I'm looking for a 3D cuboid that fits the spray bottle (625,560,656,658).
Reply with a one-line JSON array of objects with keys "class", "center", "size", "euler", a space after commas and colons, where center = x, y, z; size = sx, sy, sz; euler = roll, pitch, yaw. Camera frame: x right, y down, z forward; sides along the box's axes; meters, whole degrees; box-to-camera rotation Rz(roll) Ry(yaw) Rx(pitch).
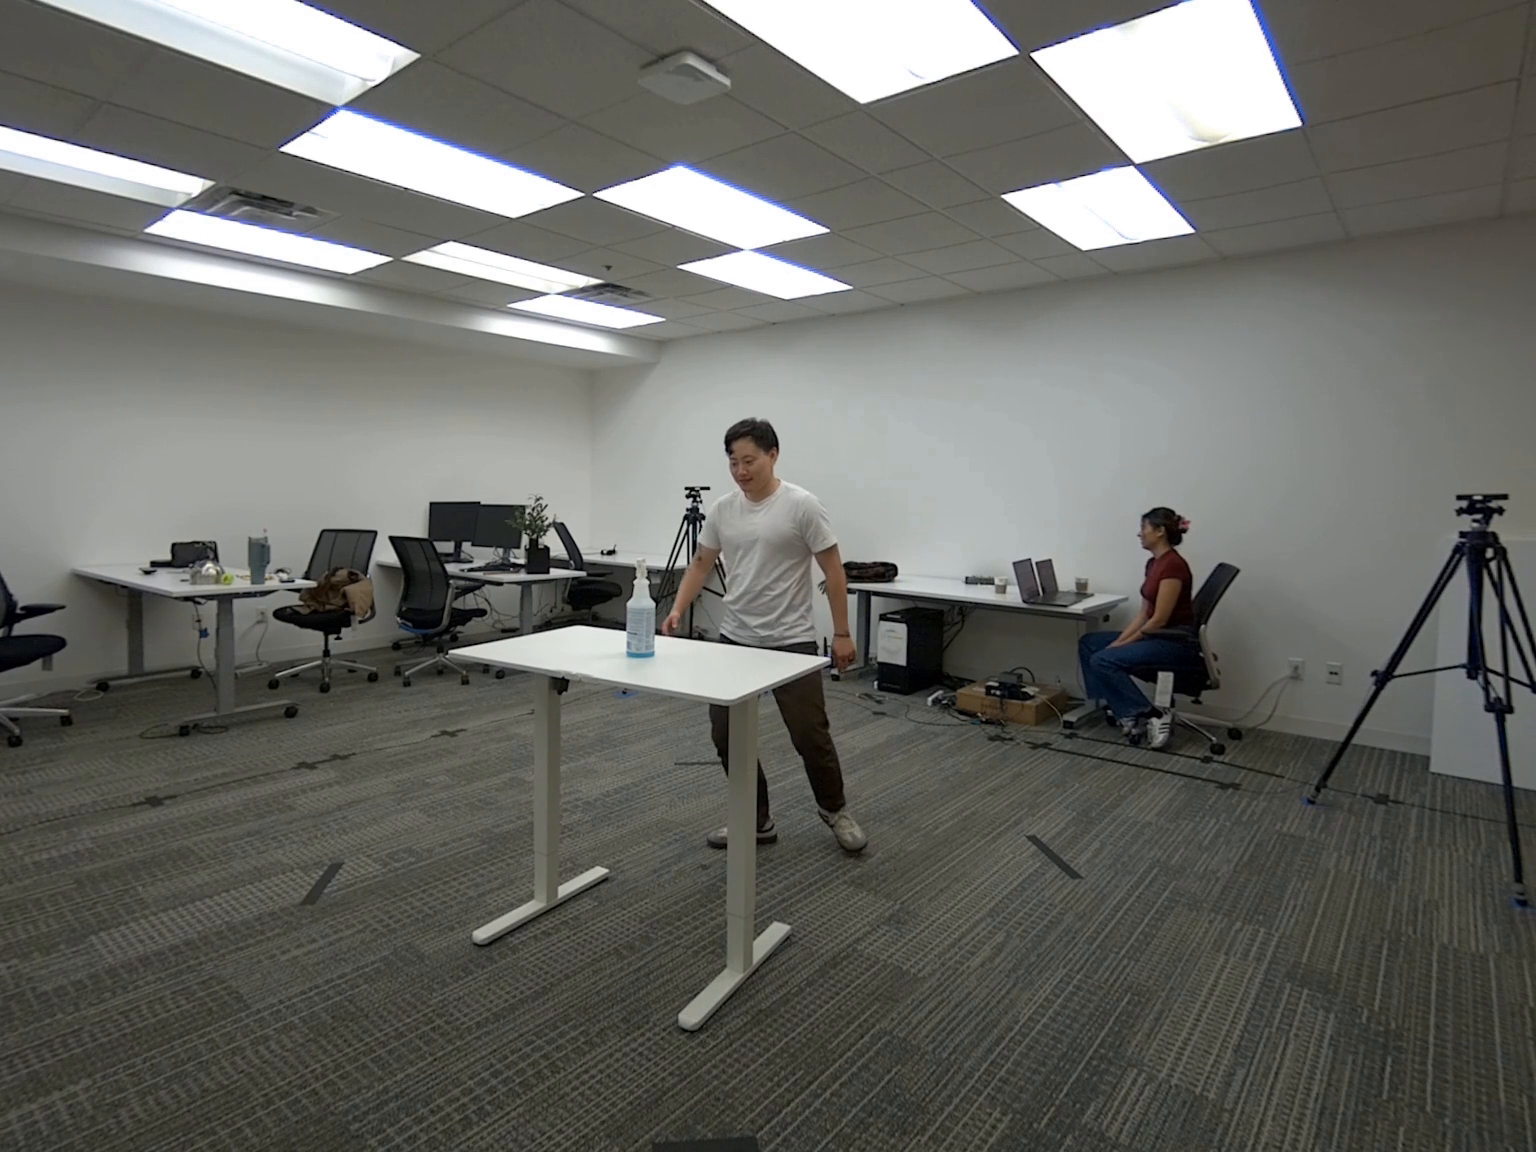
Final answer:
[{"class": "spray bottle", "center": [-0.391, 0.093, 2.554], "size": [0.089, 0.296, 0.088], "euler": [4, 4, 25]}]
